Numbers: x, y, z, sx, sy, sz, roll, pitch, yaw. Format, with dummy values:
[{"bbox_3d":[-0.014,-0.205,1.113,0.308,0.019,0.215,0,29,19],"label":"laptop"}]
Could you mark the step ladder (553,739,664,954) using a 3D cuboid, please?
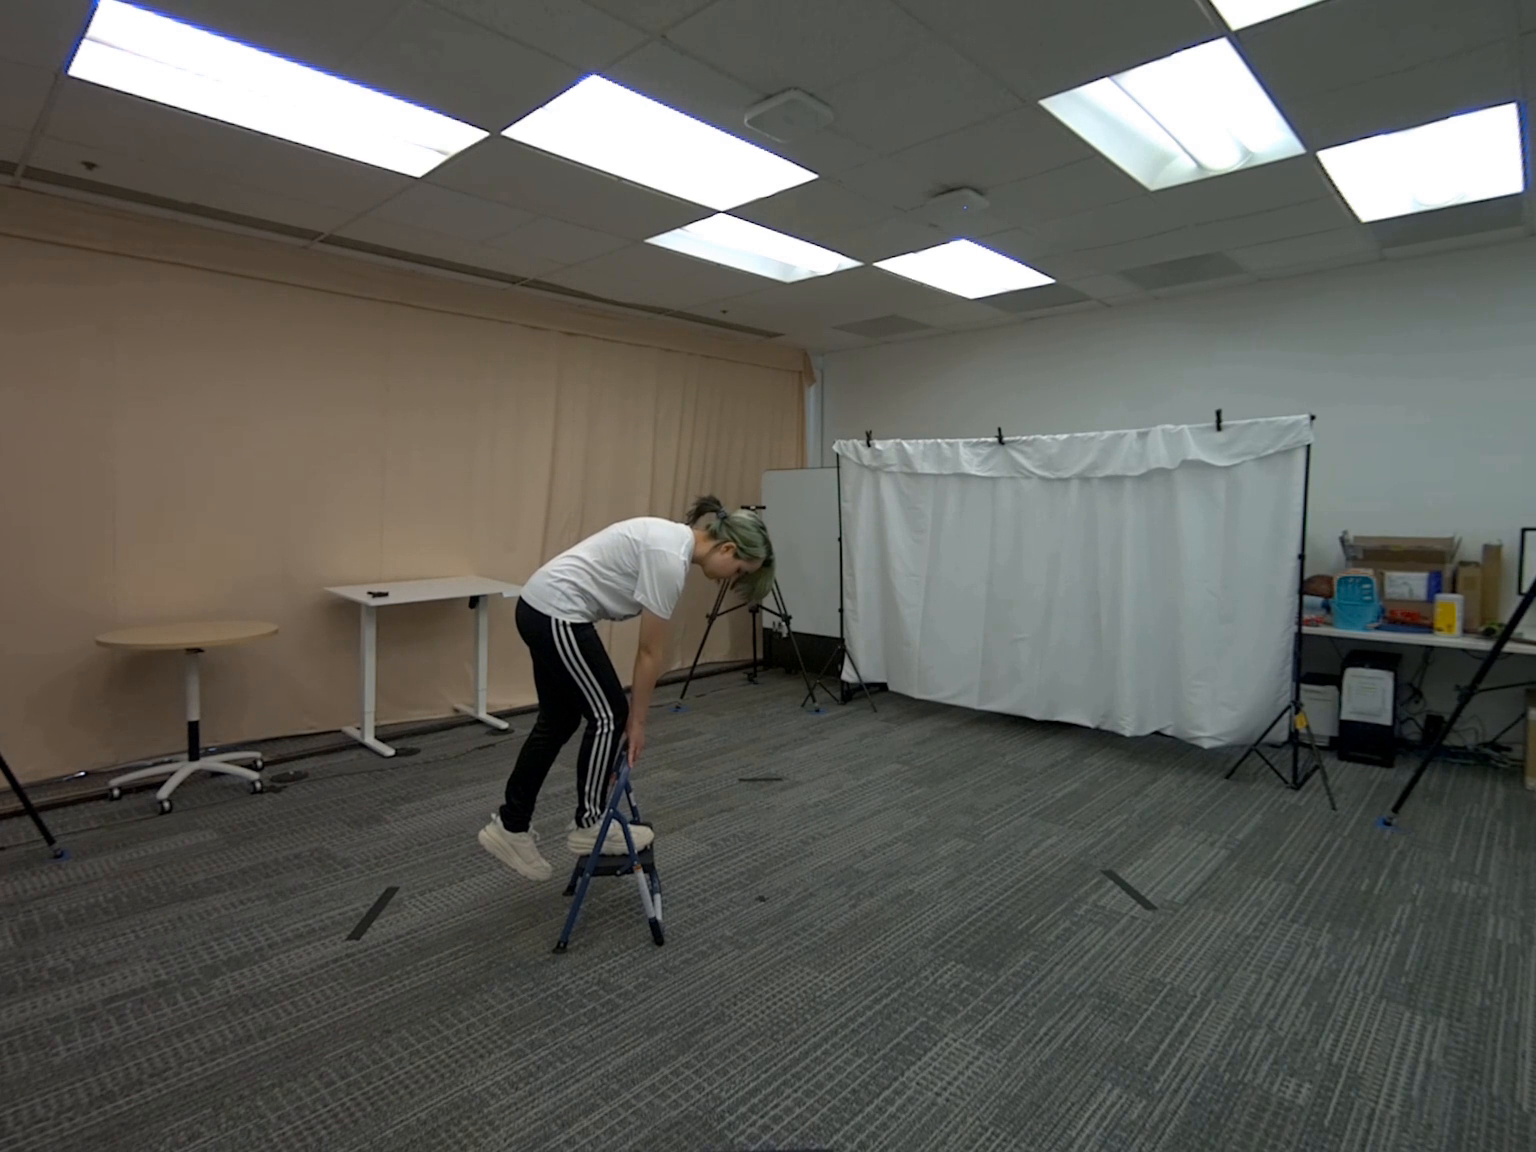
[{"bbox_3d":[-0.533,0.863,2.837,0.347,0.605,0.435,-1,3,-8],"label":"step ladder"}]
